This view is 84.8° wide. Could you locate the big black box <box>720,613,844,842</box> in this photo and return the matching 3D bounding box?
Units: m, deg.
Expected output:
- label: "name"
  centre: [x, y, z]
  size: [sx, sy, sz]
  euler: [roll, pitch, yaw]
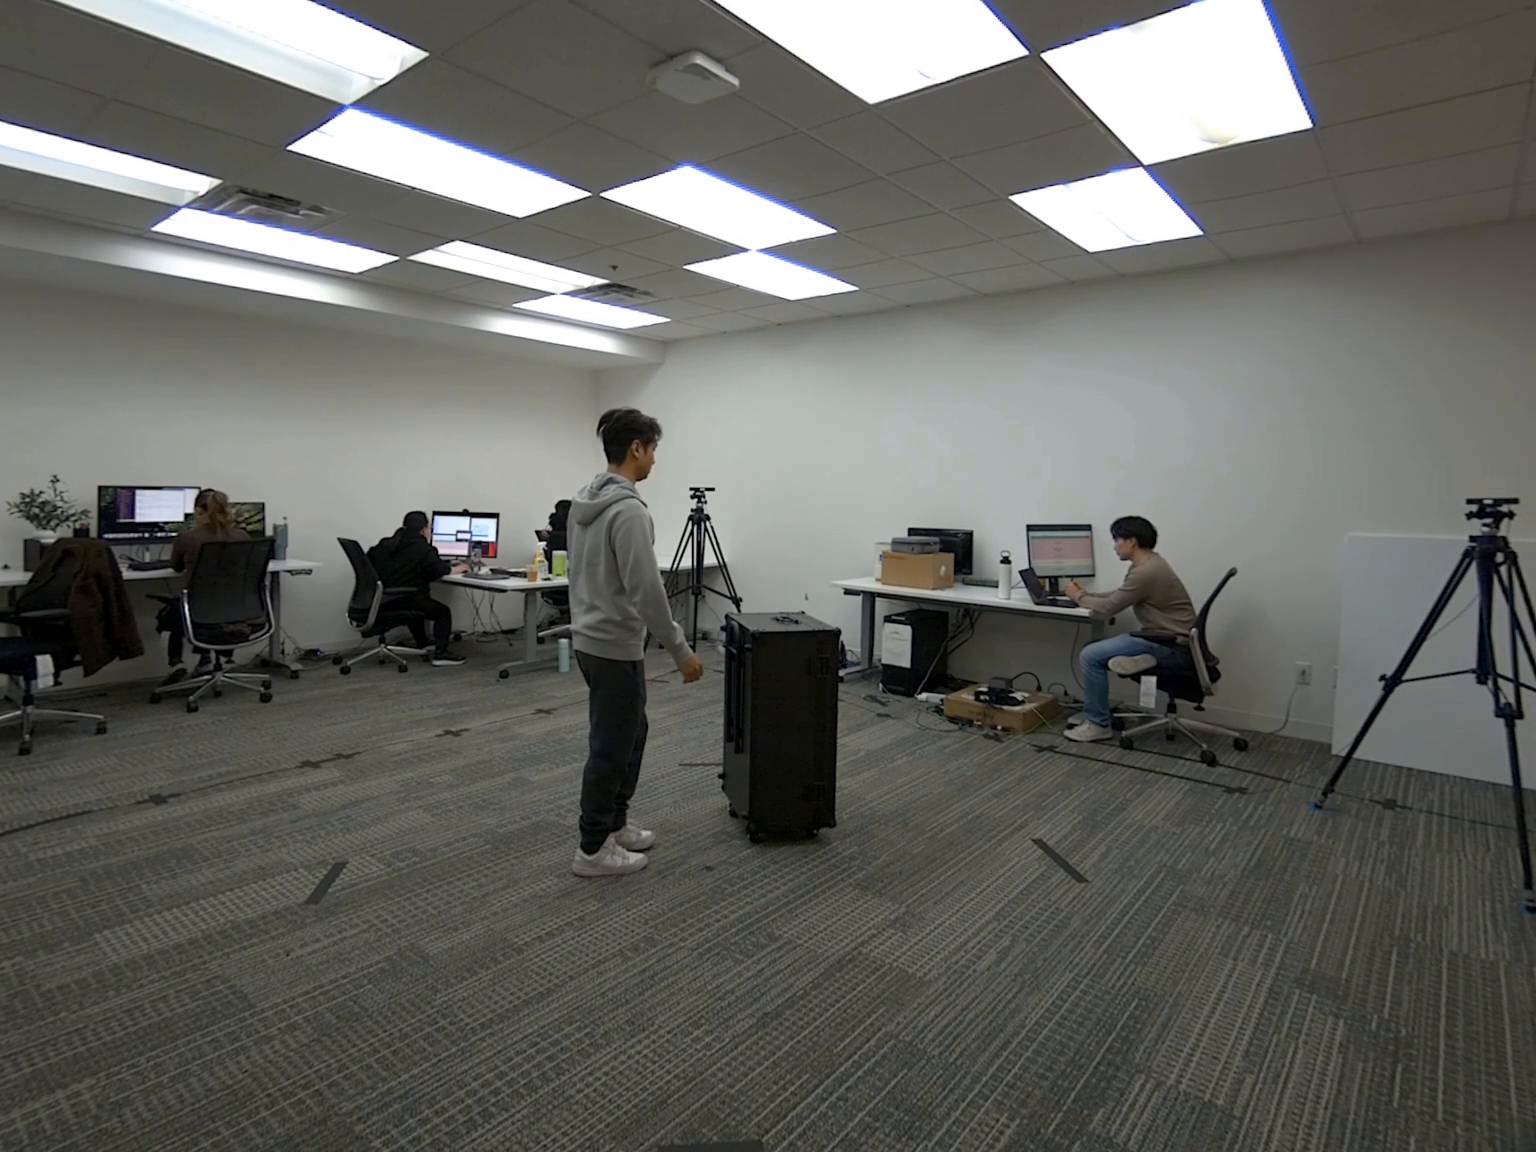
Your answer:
- label: "big black box"
  centre: [0.024, 0.606, 3.520]
  size: [0.390, 0.858, 0.531]
  euler: [0, 5, -16]
